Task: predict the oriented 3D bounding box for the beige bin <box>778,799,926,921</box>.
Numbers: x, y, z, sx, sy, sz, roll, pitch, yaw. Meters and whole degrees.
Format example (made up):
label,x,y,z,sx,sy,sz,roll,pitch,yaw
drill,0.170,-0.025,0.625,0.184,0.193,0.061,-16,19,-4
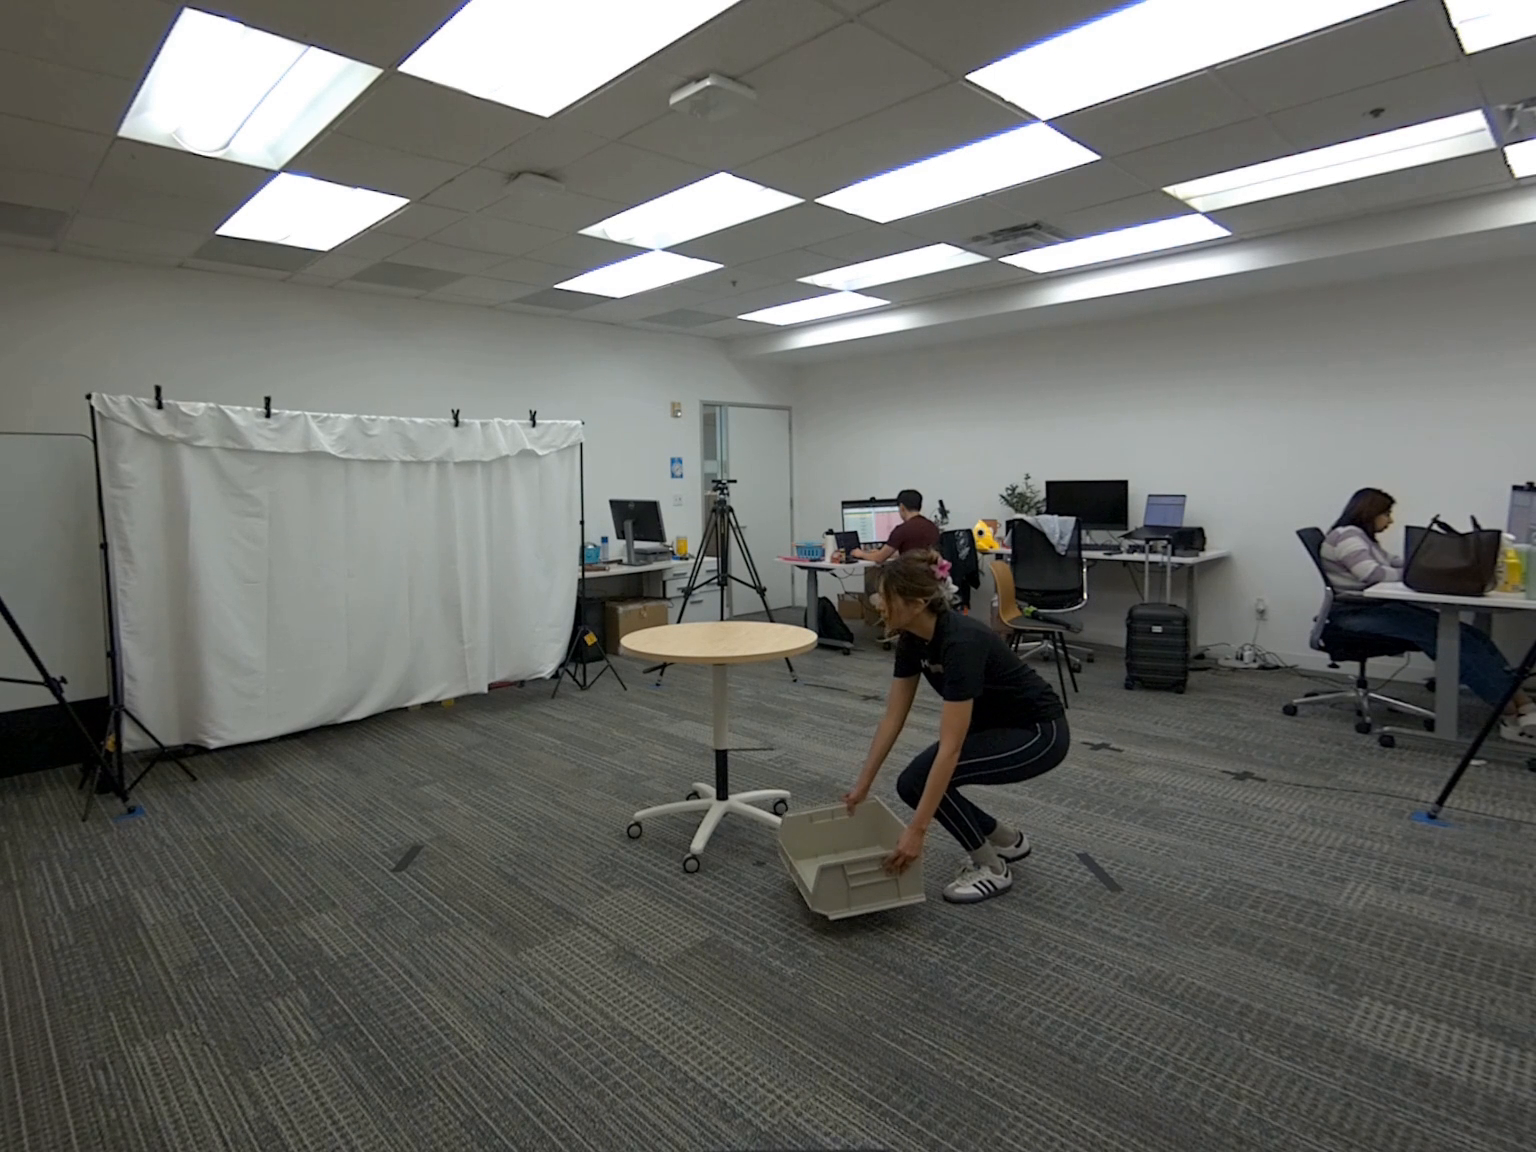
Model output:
label,x,y,z,sx,sy,sz,roll,pitch,yaw
beige bin,0.266,0.912,2.778,0.374,0.188,0.429,-6,7,-11
